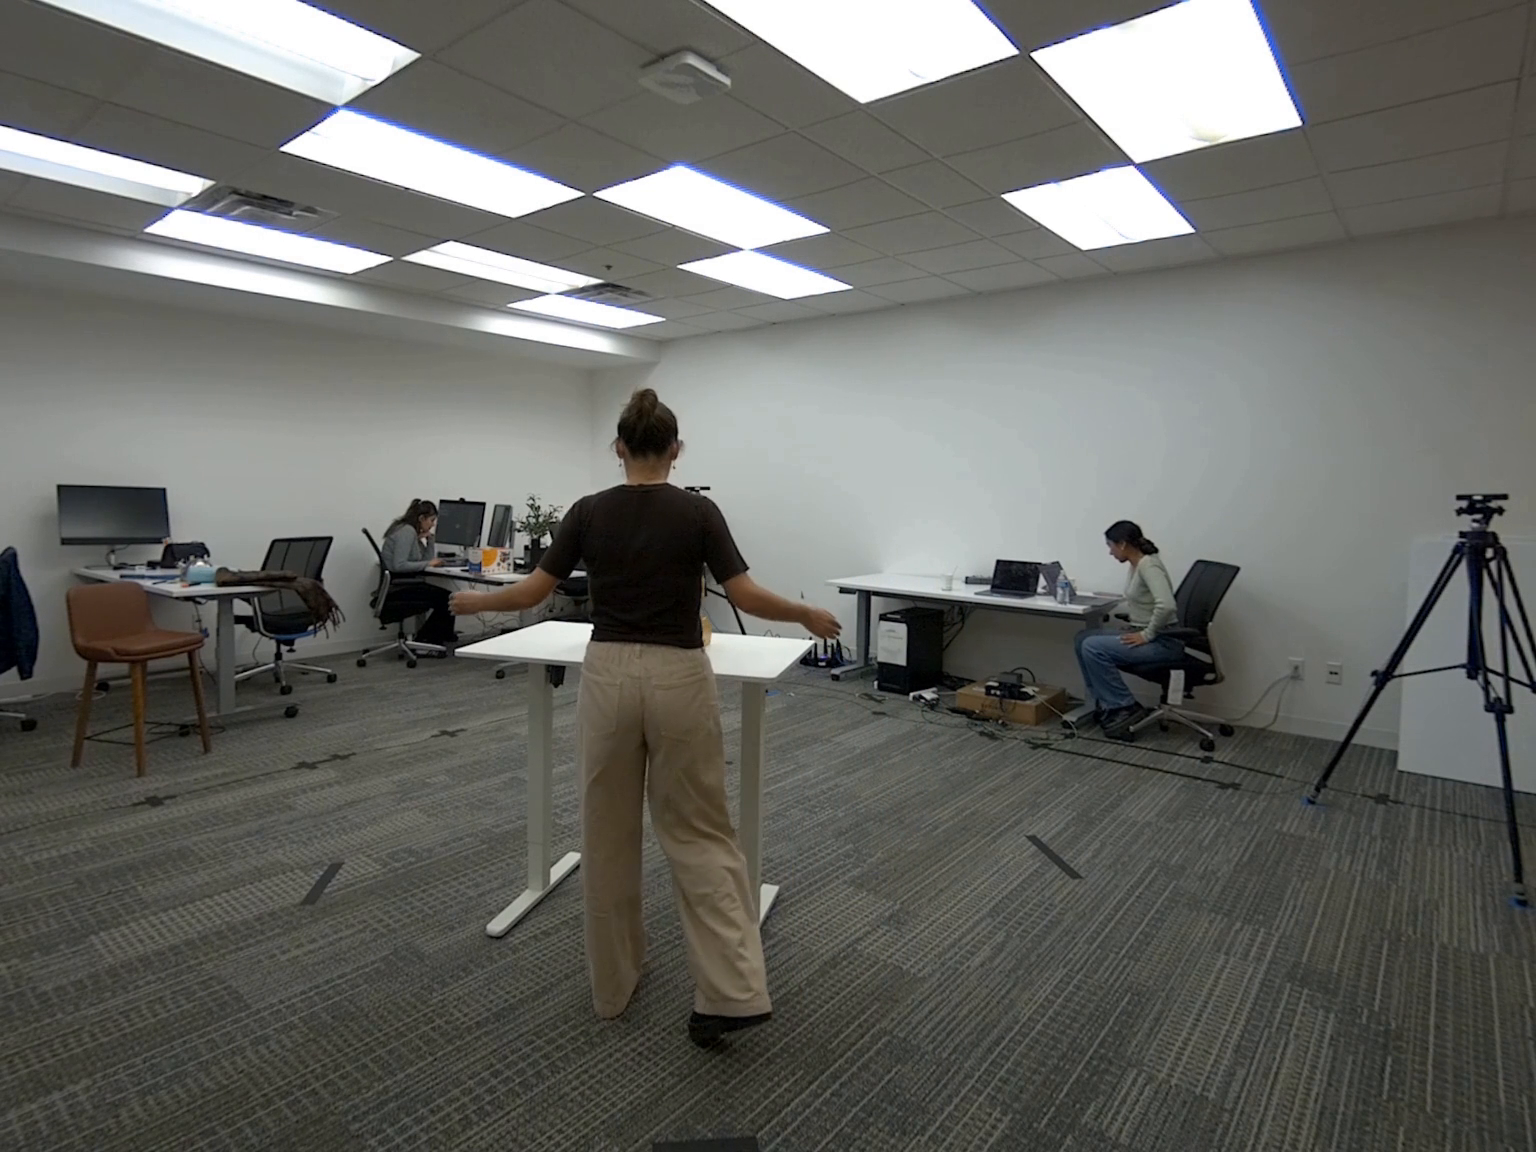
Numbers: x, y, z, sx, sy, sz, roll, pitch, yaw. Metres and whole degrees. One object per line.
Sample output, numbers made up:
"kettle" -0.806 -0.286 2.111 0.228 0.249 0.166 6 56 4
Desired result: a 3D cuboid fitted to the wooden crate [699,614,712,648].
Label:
"wooden crate" -0.367 0.094 2.669 0.330 0.272 0.299 2 6 14
